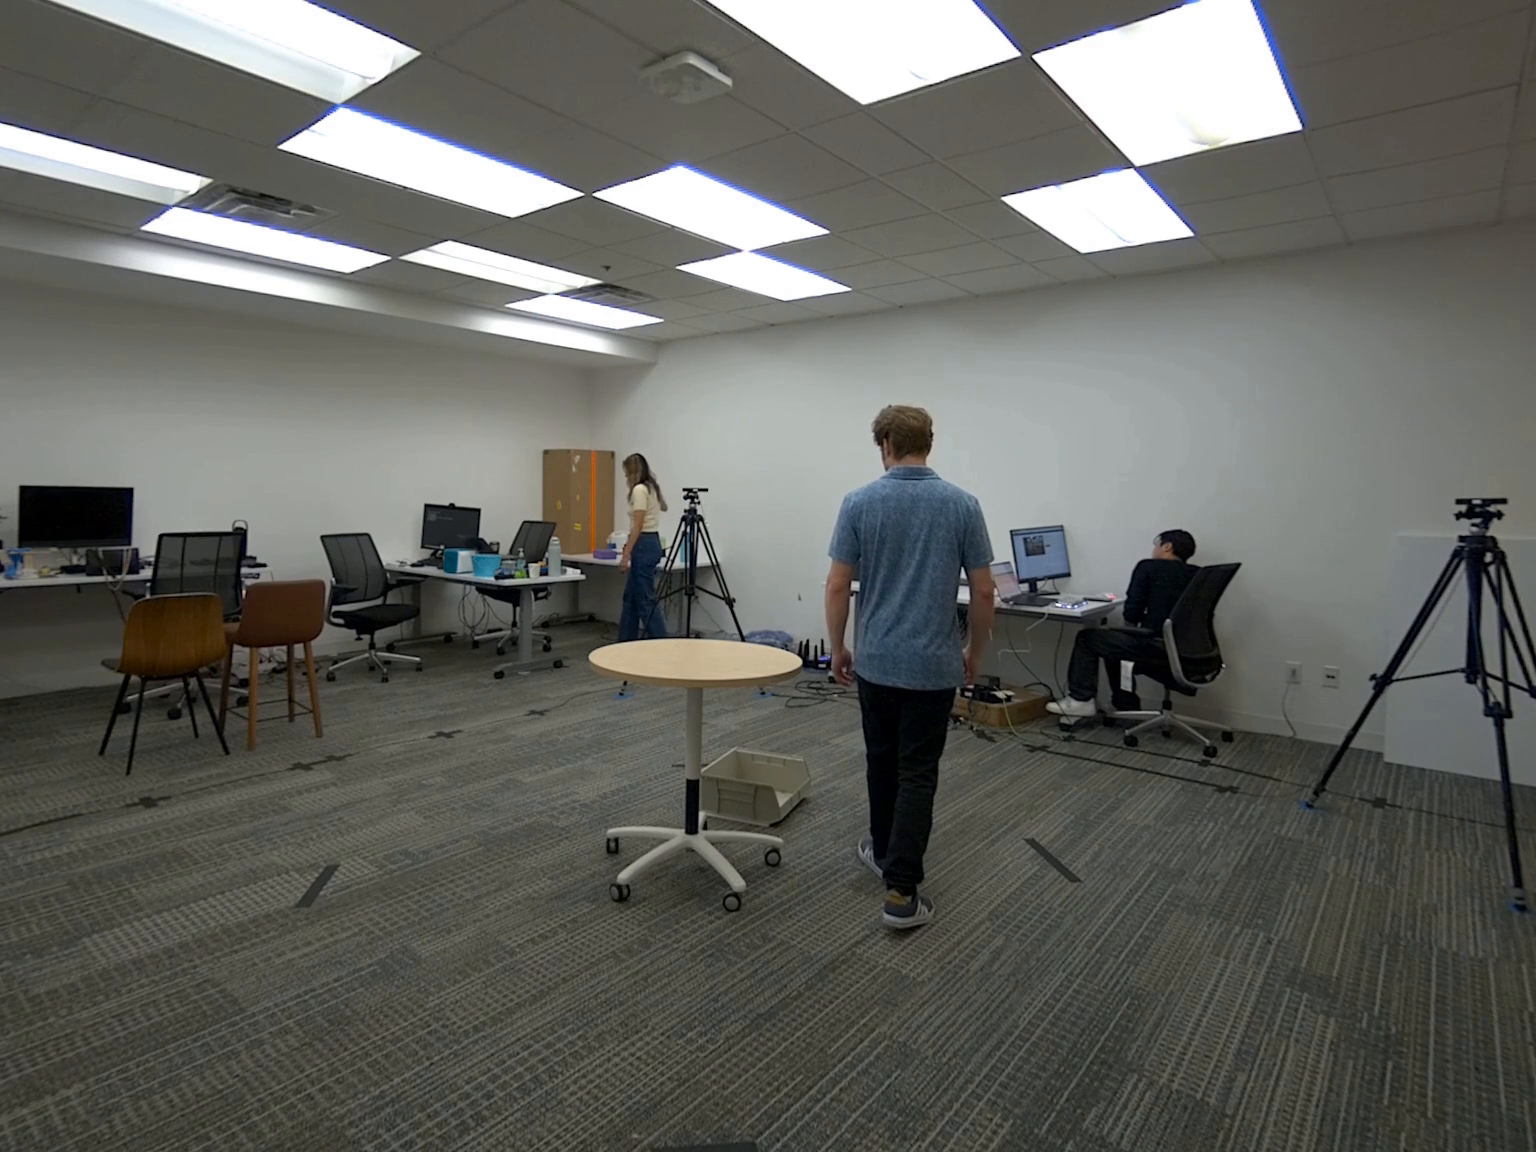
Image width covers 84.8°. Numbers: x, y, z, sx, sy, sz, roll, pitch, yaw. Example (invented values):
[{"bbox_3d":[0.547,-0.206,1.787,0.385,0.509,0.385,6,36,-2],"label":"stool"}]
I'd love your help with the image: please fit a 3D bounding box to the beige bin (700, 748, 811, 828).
[{"bbox_3d":[-0.062,0.920,3.748,0.386,0.188,0.414,2,6,22],"label":"beige bin"}]
